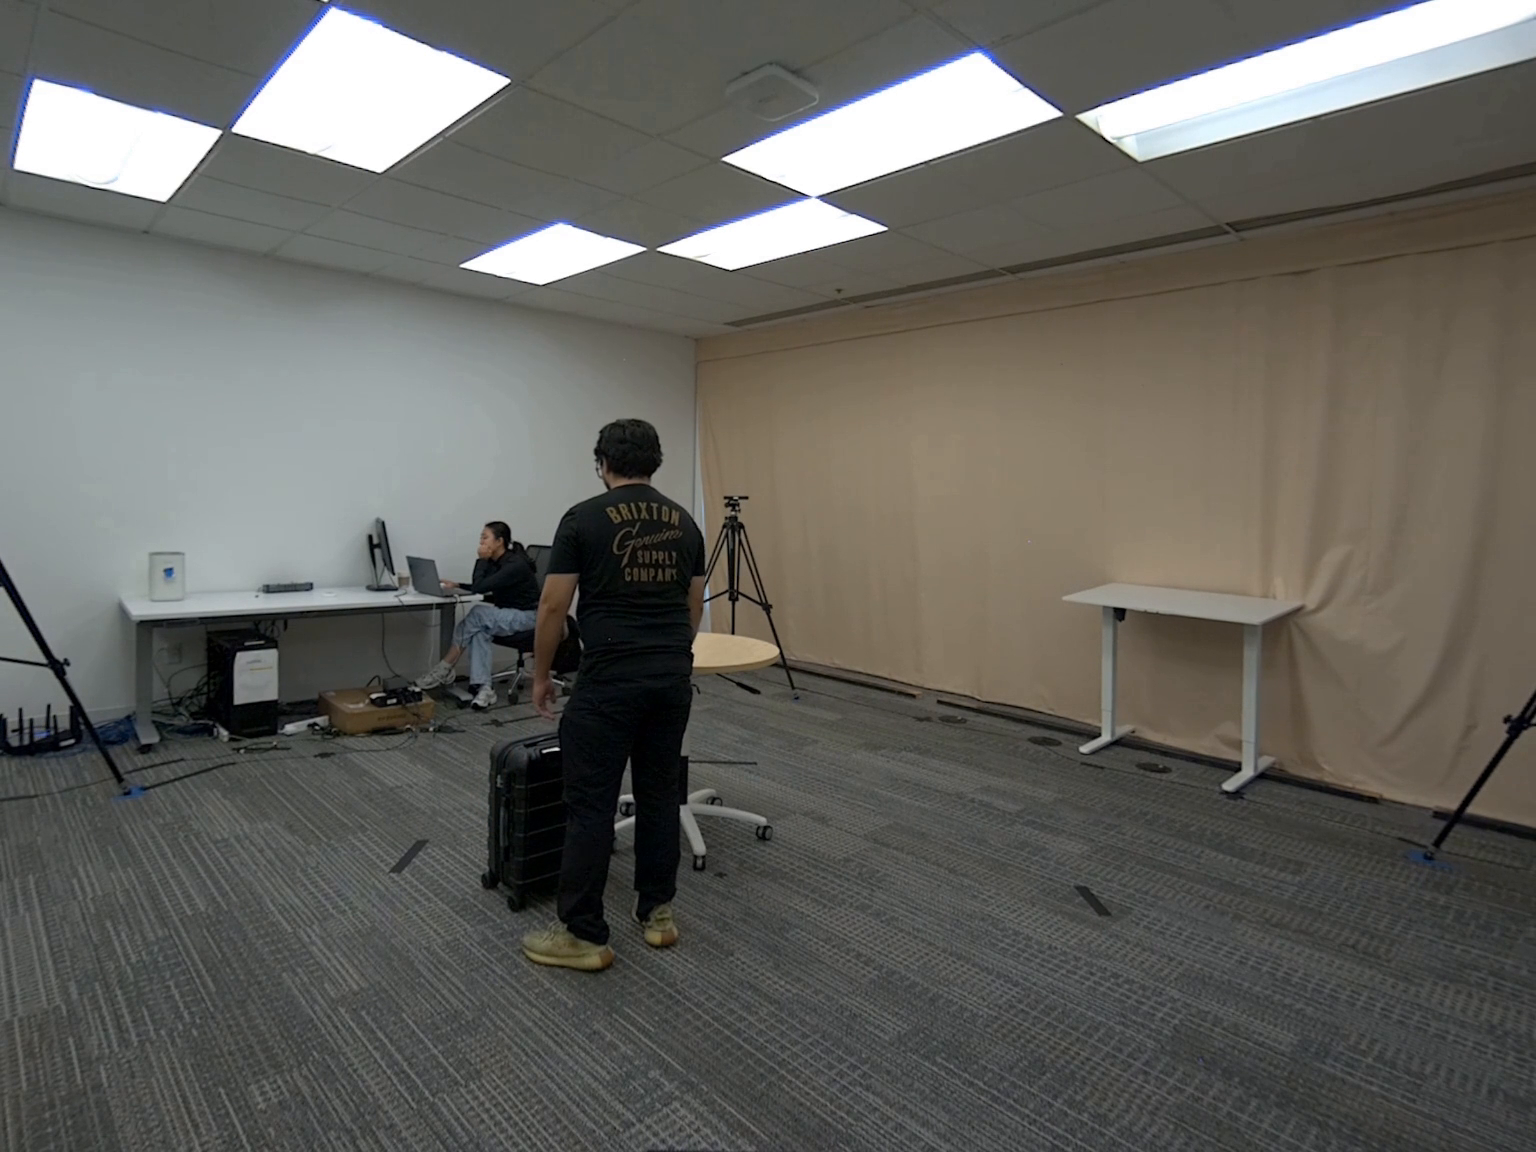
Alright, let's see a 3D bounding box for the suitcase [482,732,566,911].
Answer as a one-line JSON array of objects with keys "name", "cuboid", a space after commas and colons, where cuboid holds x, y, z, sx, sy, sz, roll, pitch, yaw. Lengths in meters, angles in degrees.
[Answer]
[{"name": "suitcase", "cuboid": [-0.796, 0.827, 2.959, 0.367, 0.547, 0.255, -3, 7, -42]}]
